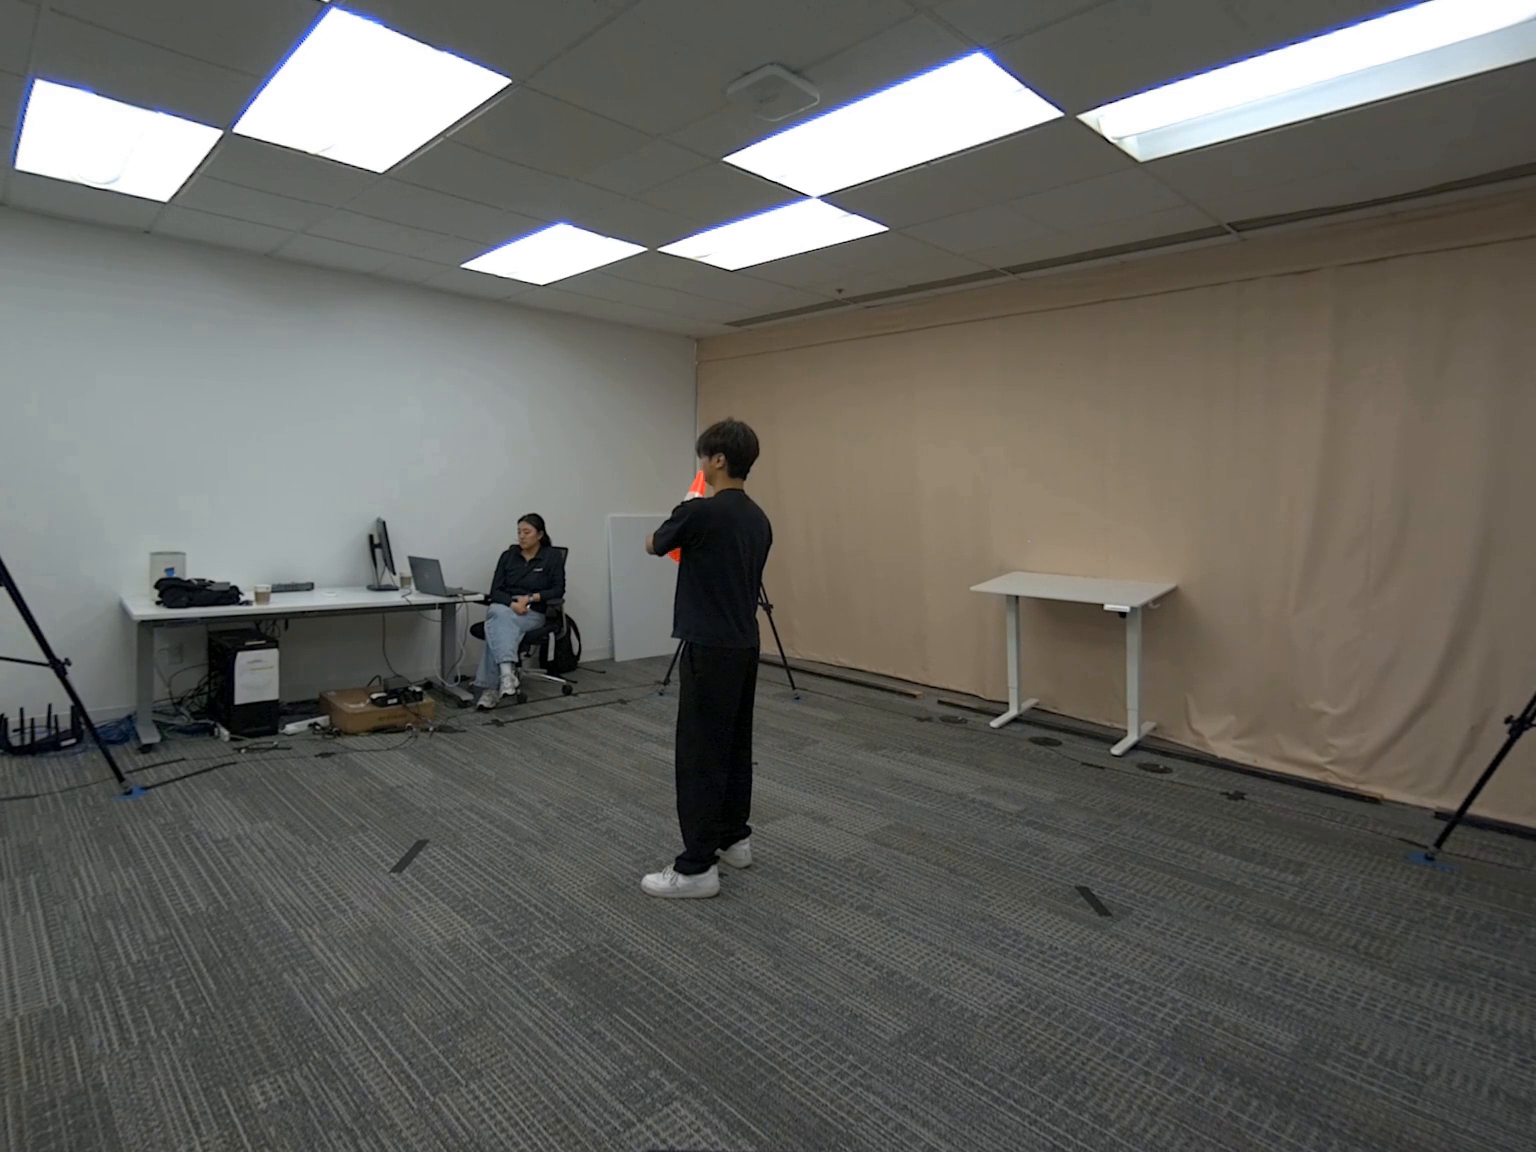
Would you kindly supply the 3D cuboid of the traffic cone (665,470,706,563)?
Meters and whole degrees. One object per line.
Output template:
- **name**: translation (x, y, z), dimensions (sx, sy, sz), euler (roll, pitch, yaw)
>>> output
- **traffic cone**: translation (-0.346, -0.266, 3.558), dimensions (0.208, 0.388, 0.197), euler (-14, -38, 44)
